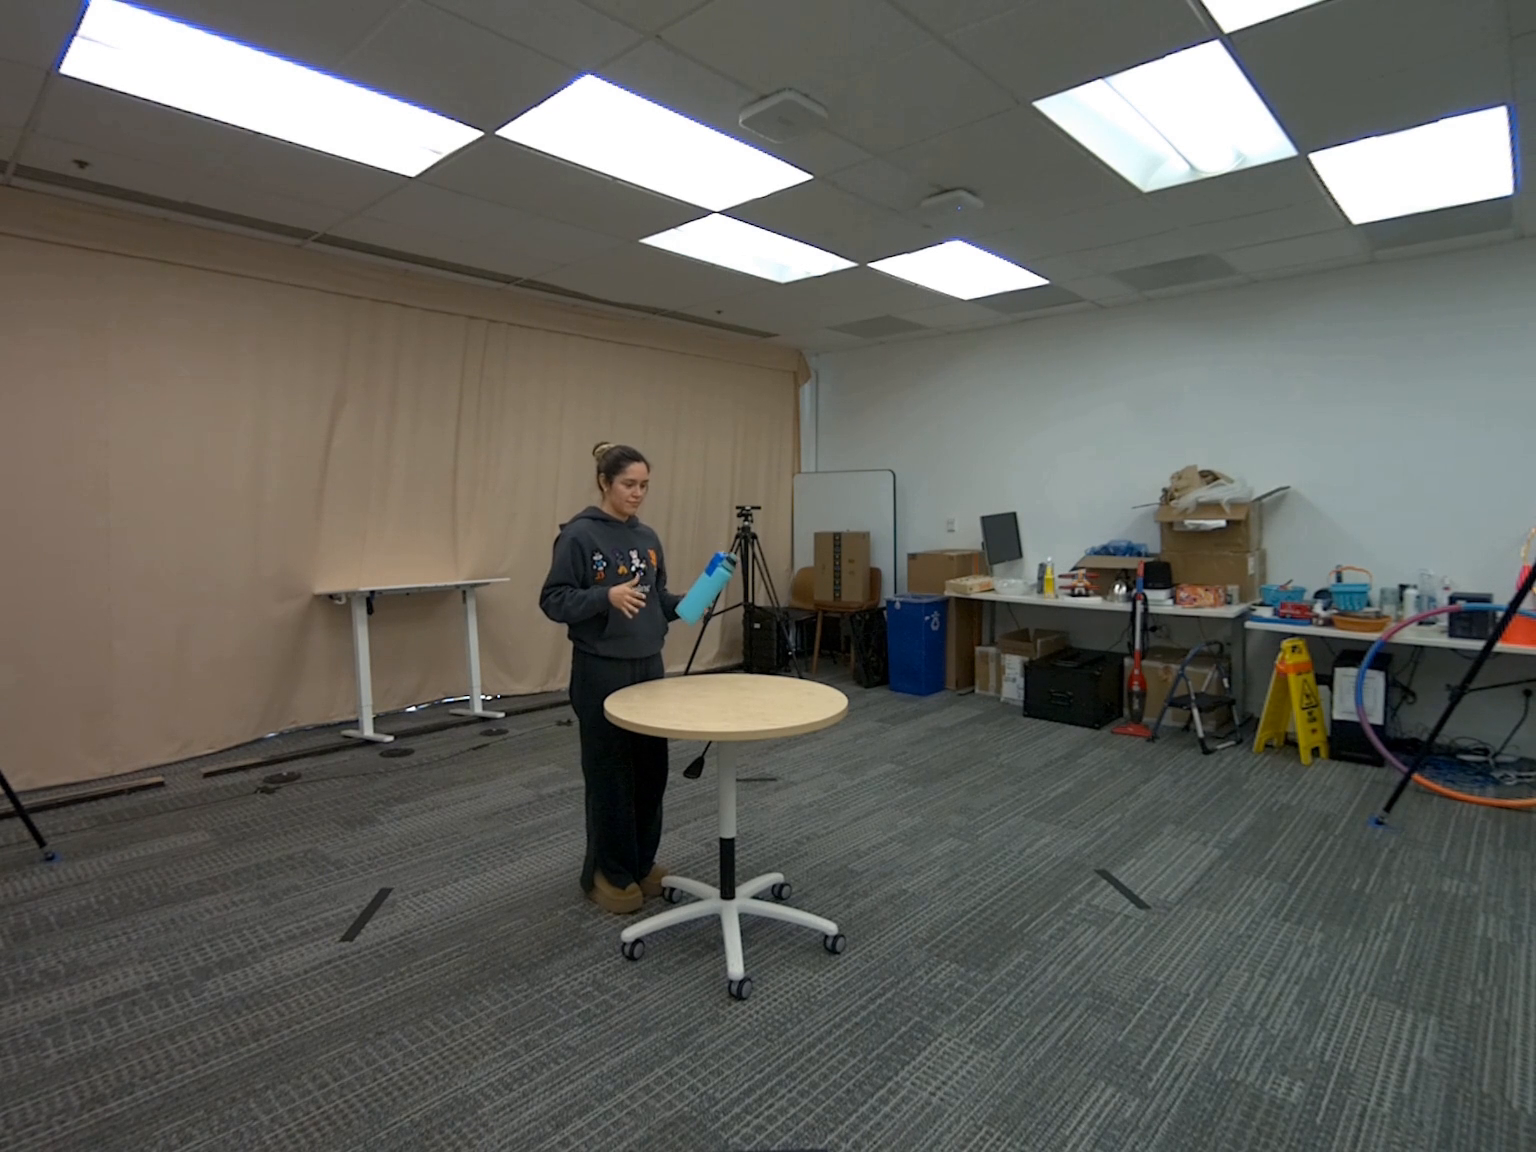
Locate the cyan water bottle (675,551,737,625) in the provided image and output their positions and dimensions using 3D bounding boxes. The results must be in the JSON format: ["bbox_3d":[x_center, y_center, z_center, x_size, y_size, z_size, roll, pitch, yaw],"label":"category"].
[{"bbox_3d":[-0.216,0.019,2.946,0.091,0.284,0.093,36,8,-8],"label":"cyan water bottle"}]
